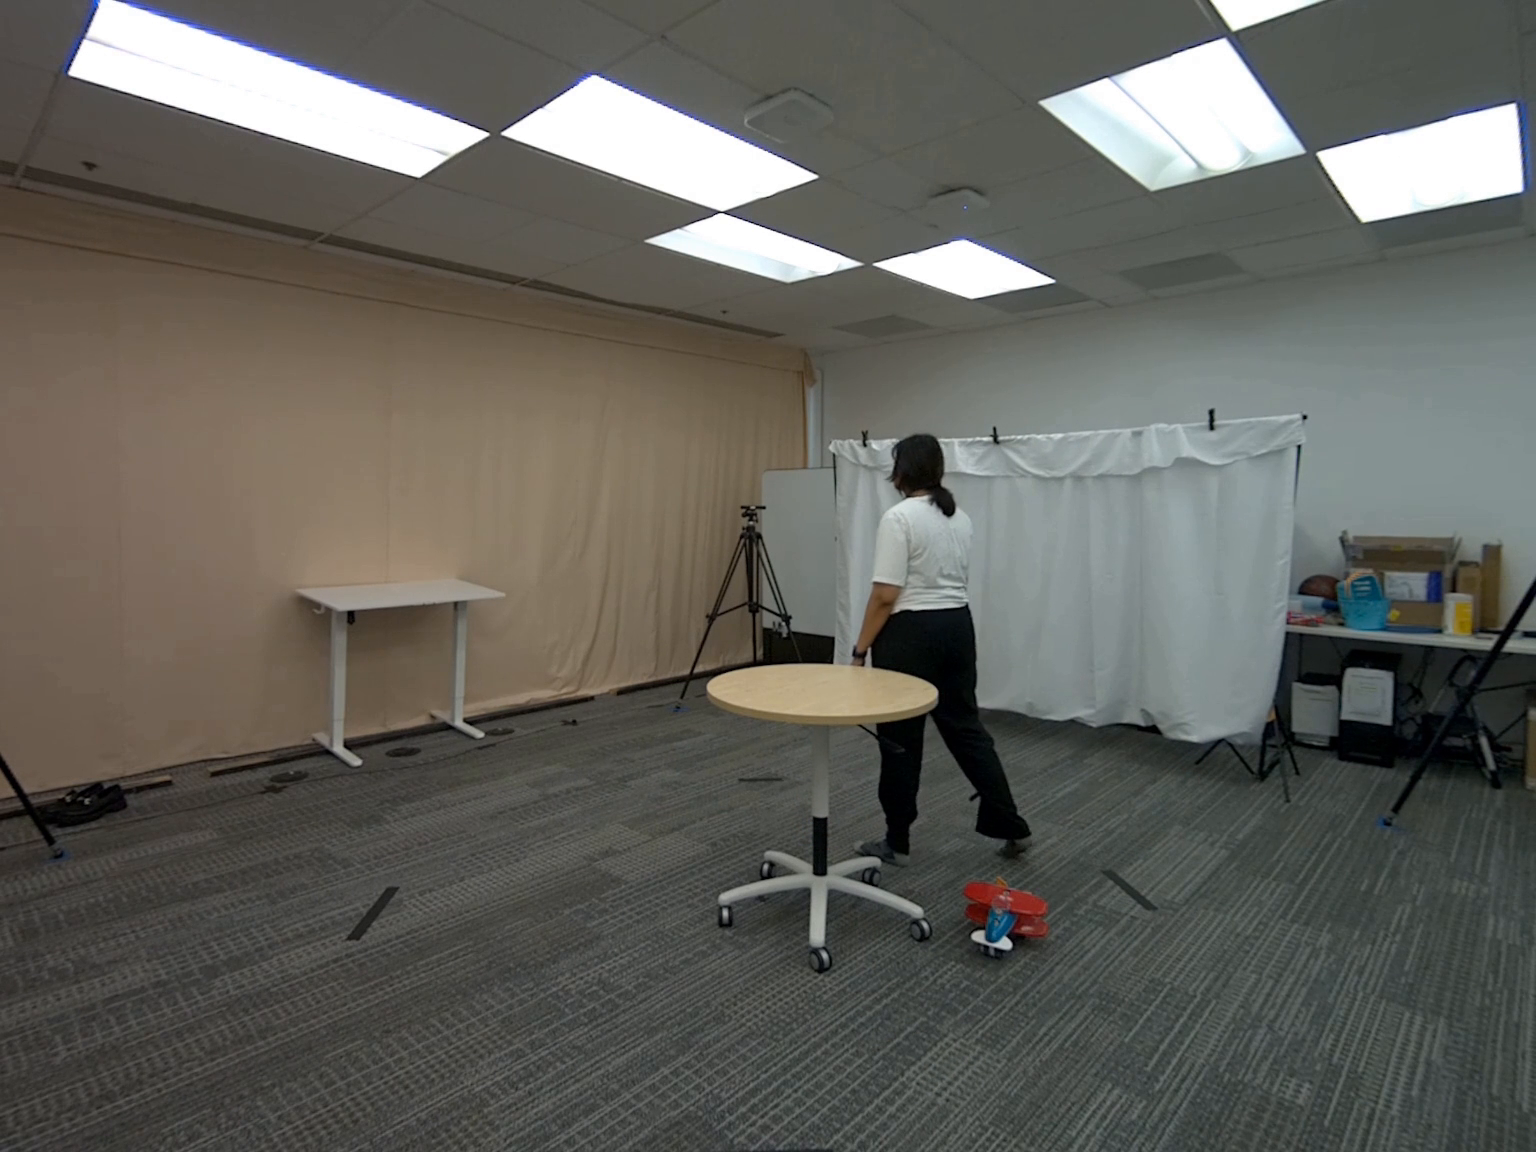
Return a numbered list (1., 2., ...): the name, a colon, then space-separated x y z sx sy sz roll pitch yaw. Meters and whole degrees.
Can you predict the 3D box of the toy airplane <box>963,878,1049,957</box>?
1. toy airplane: 0.767 1.090 2.657 0.252 0.156 0.258 1 4 3
